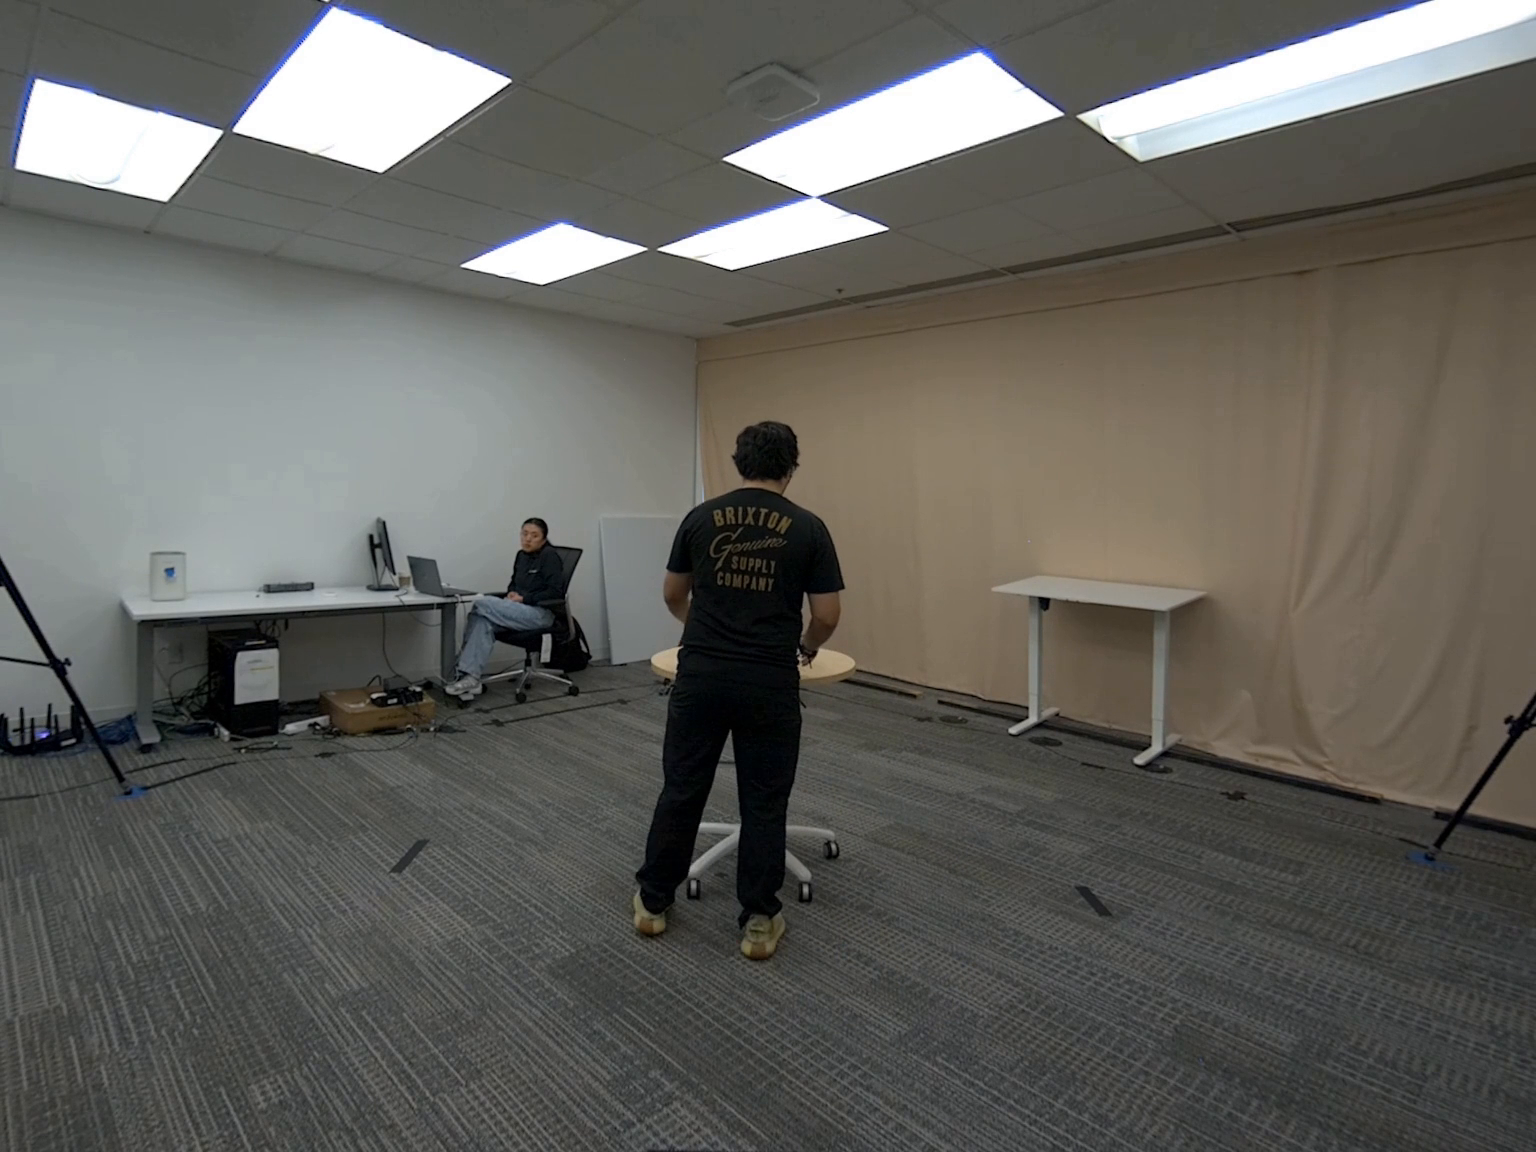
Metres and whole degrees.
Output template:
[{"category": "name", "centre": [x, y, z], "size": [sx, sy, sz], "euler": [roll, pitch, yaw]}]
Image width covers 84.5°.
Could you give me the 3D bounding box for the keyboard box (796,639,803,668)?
[{"category": "keyboard box", "centre": [-0.038, 0.233, 3.167], "size": [0.058, 0.176, 0.446], "euler": [5, 3, -26]}]
